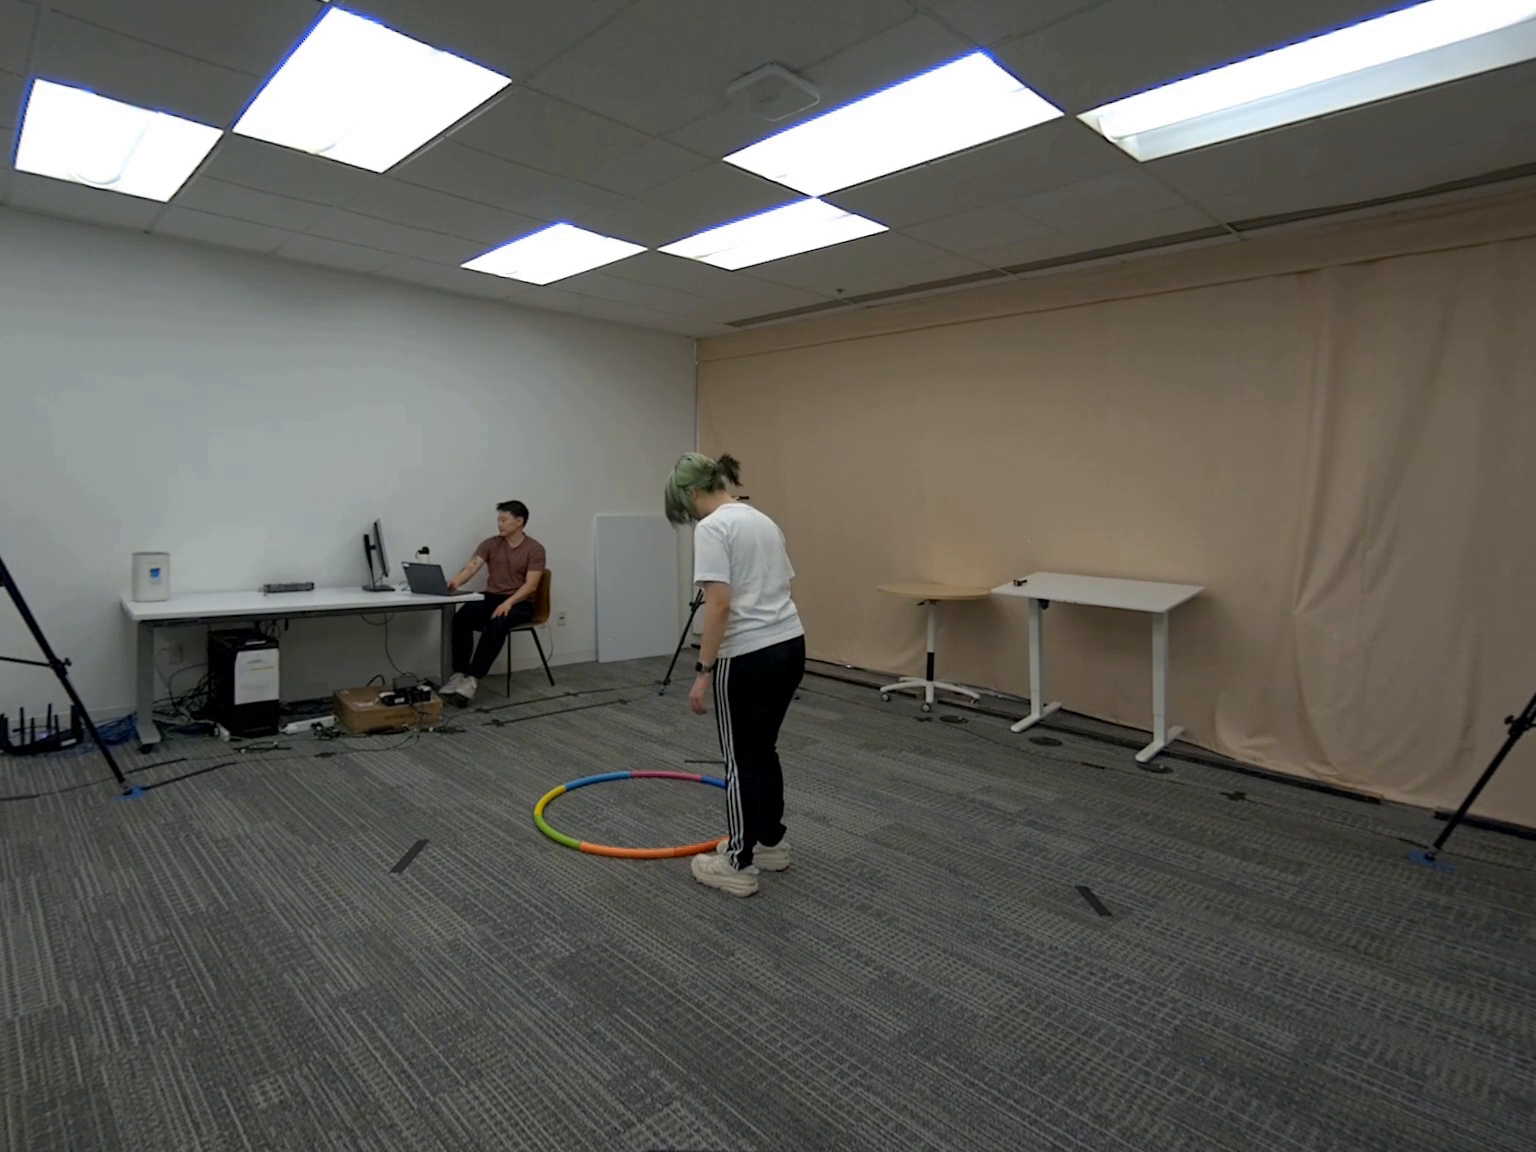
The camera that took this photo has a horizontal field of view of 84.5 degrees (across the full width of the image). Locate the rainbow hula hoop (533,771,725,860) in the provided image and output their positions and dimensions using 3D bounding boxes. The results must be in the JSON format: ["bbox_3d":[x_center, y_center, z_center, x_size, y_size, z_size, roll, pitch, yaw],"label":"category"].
[{"bbox_3d":[-0.529,1.011,3.703,0.978,0.035,0.982,2,5,-1],"label":"rainbow hula hoop"}]
